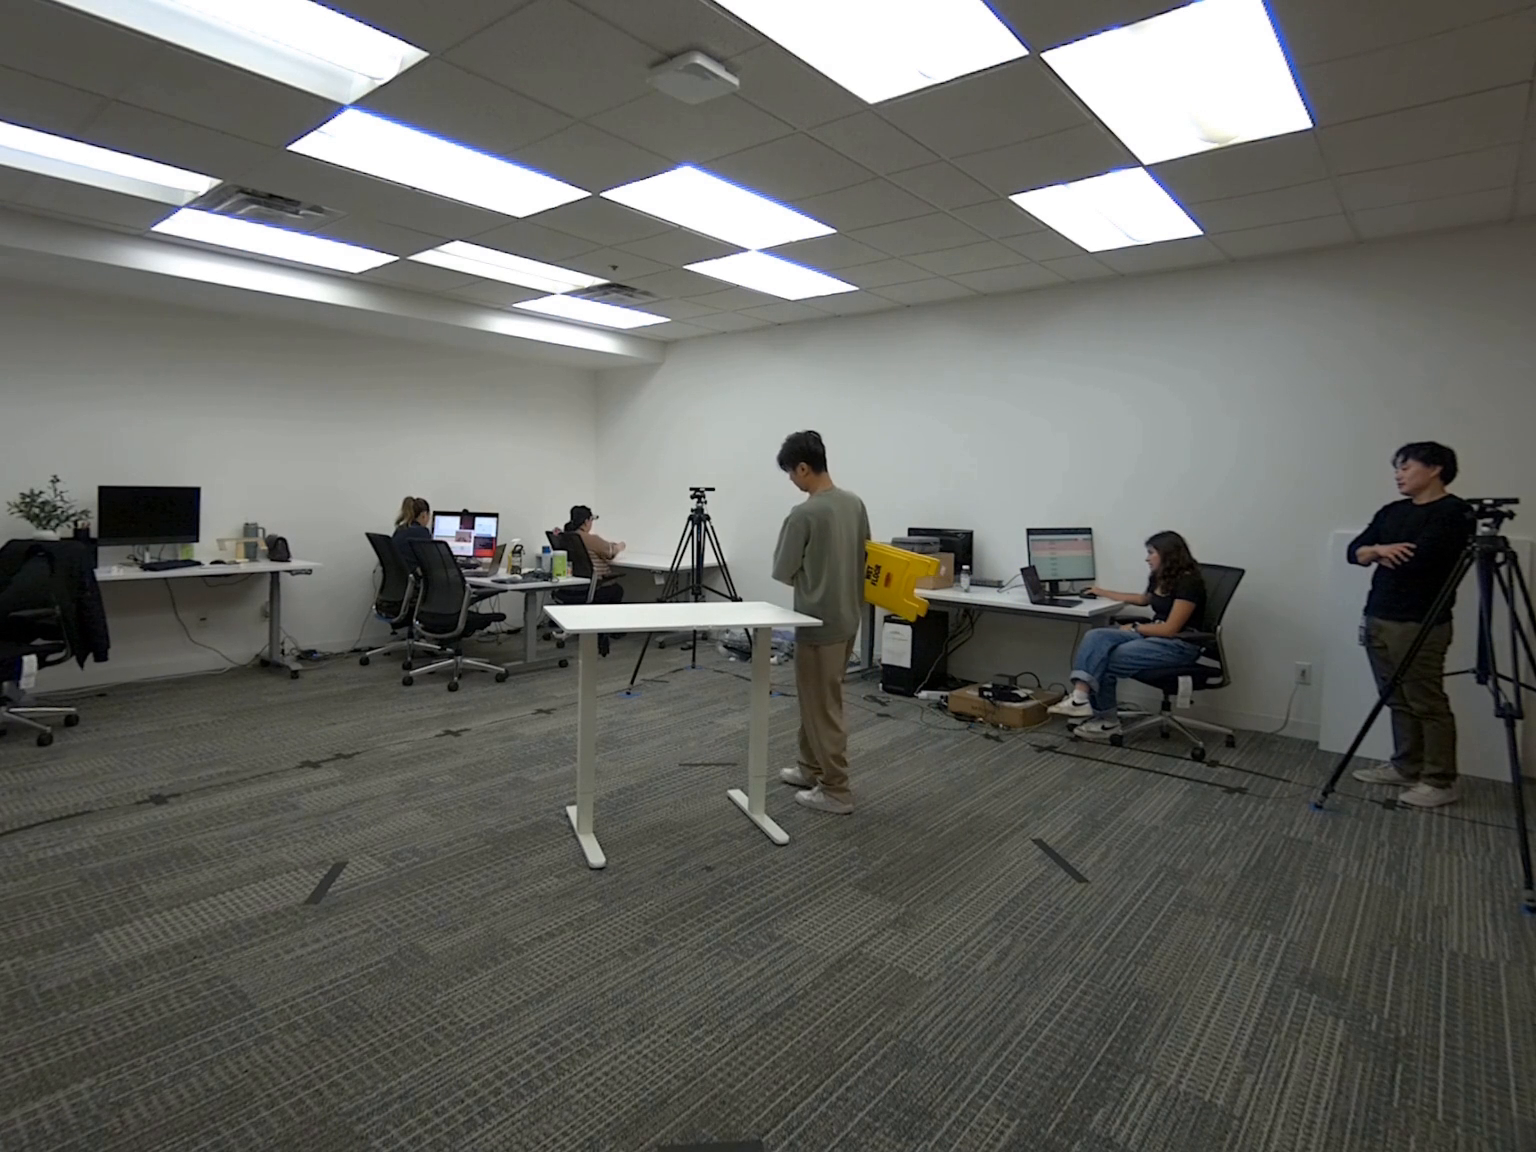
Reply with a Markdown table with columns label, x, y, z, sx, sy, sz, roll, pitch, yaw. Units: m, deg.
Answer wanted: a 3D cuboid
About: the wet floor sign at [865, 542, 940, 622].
| label | x | y | z | sx | sy | sz | roll | pitch | yaw |
| --- | --- | --- | --- | --- | --- | --- | --- | --- | --- |
| wet floor sign | 0.394 | -0.038 | 3.850 | 0.667 | 0.279 | 0.283 | 20 | 17 | 26 |
